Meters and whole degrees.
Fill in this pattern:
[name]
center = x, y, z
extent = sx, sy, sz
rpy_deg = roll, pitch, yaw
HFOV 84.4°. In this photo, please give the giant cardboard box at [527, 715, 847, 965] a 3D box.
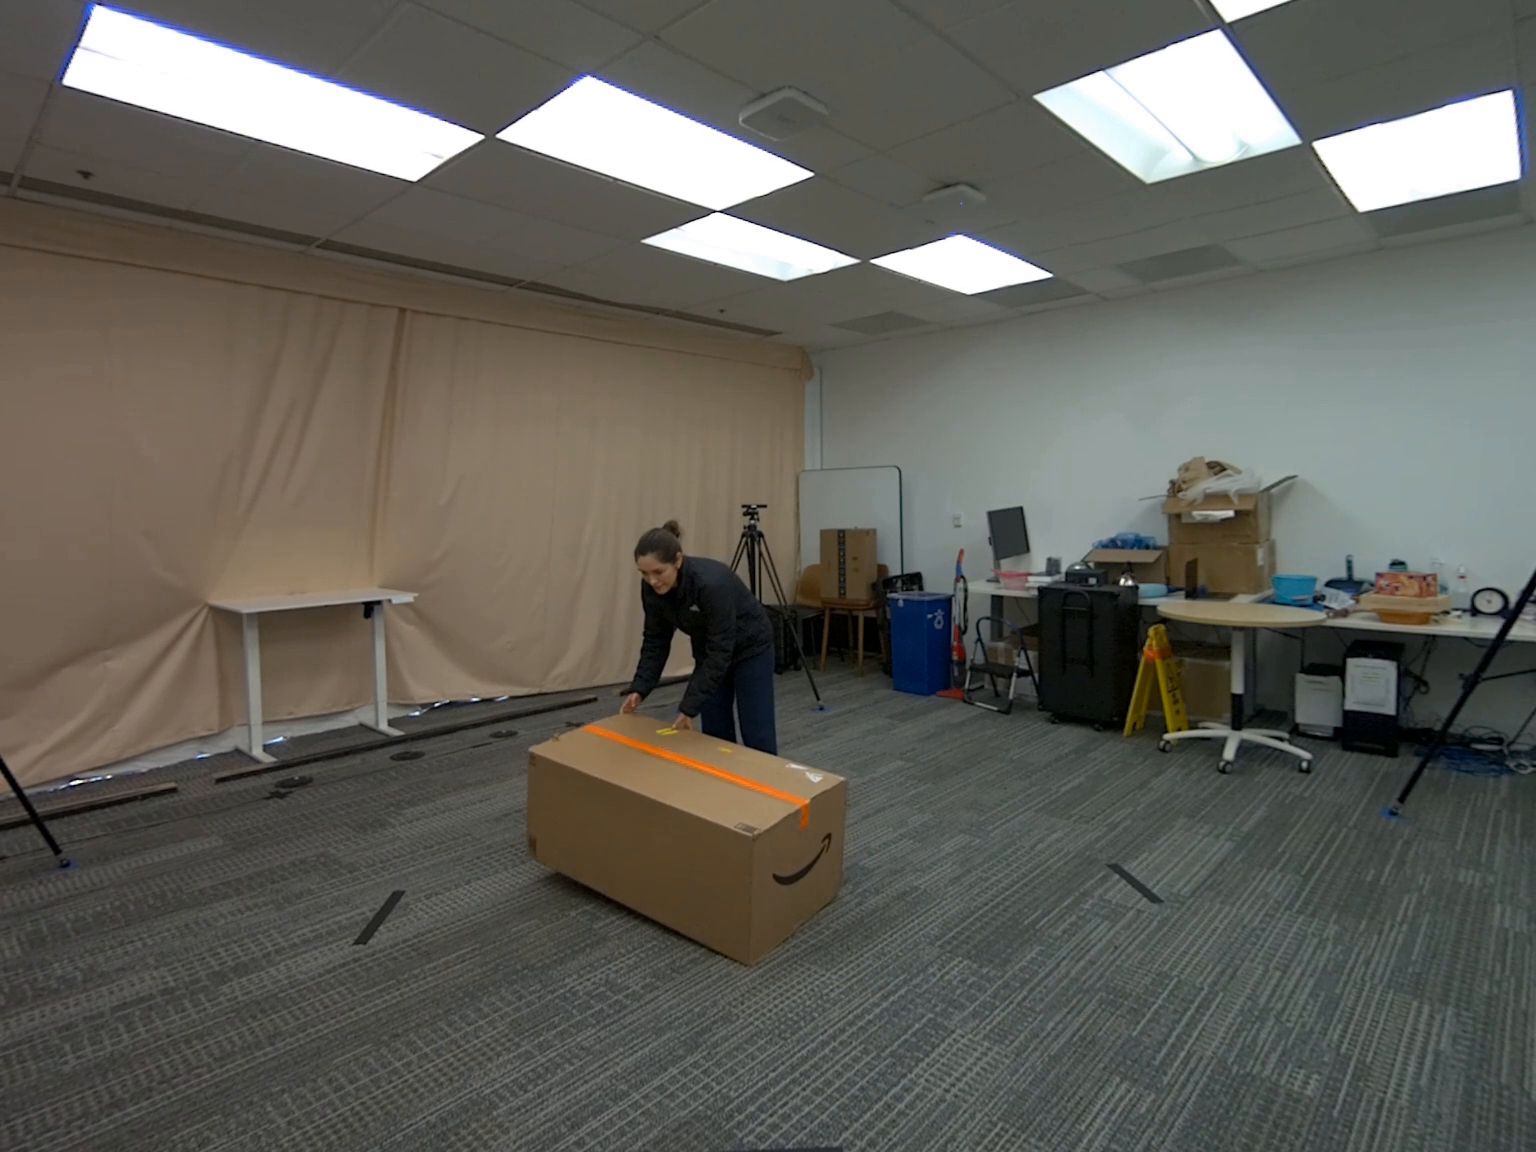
[giant cardboard box]
center = -0.297, 0.871, 3.032
extent = 1.060, 0.424, 0.561
rpy_deg = 9, 10, 35
